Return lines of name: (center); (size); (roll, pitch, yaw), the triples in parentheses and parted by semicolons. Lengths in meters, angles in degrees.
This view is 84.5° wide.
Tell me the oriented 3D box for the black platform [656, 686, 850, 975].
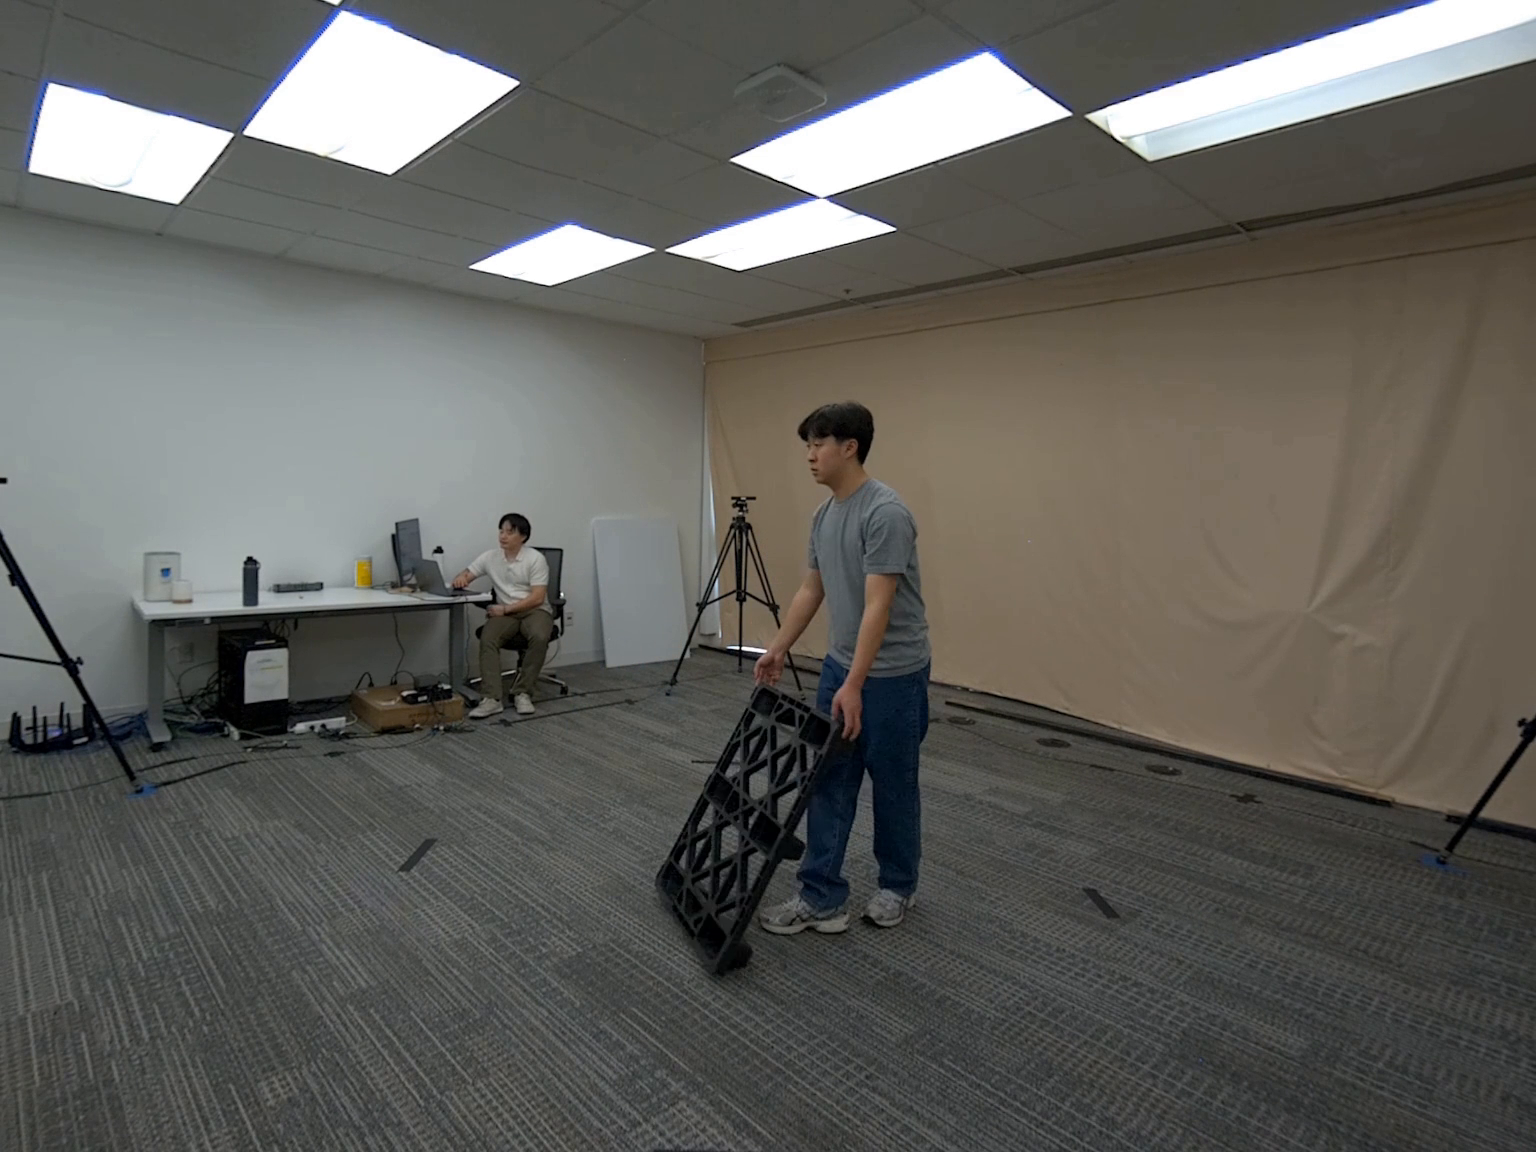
black platform: (-0.044, 0.790, 2.739); (0.140, 0.807, 0.617); (31, -7, -23)
